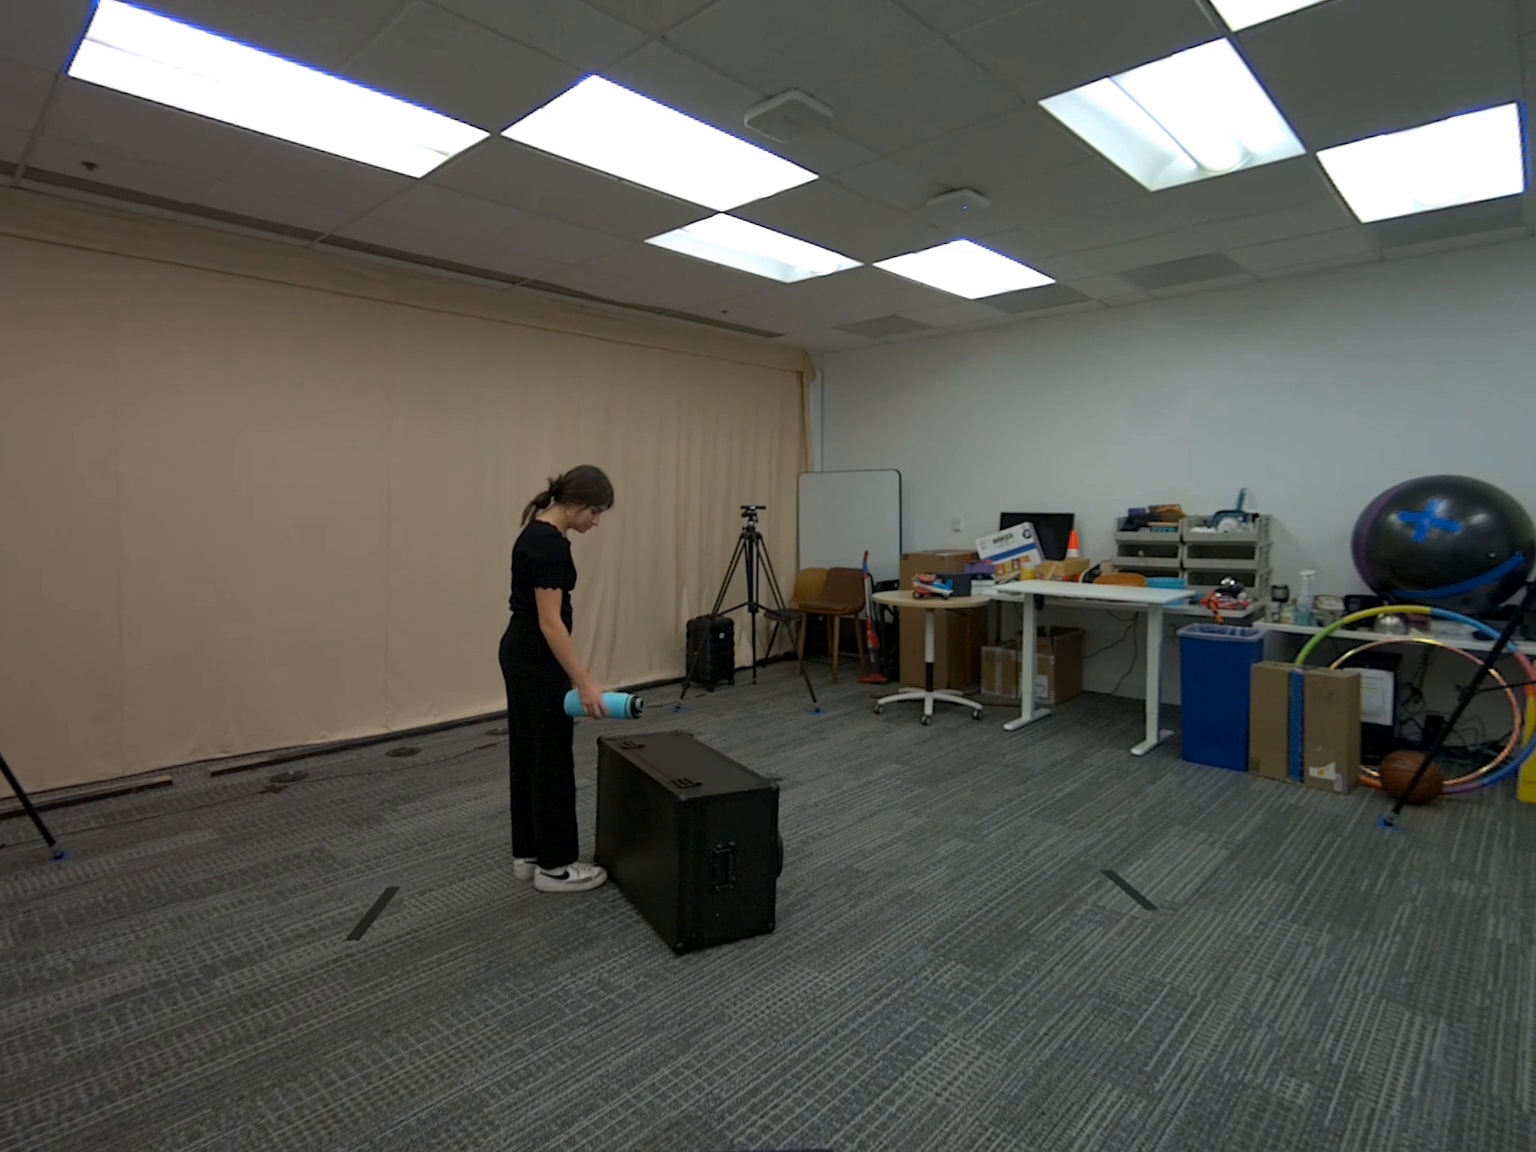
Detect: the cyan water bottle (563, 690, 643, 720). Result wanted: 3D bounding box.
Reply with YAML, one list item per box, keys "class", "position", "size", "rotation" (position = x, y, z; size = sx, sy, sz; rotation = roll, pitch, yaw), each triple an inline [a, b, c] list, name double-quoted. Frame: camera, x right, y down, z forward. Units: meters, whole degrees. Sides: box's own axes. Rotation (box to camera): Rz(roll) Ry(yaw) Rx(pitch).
- class: "cyan water bottle"
  position: [-0.565, 0.455, 2.936]
  size: [0.288, 0.092, 0.091]
  rotation: [1, 4, 15]
